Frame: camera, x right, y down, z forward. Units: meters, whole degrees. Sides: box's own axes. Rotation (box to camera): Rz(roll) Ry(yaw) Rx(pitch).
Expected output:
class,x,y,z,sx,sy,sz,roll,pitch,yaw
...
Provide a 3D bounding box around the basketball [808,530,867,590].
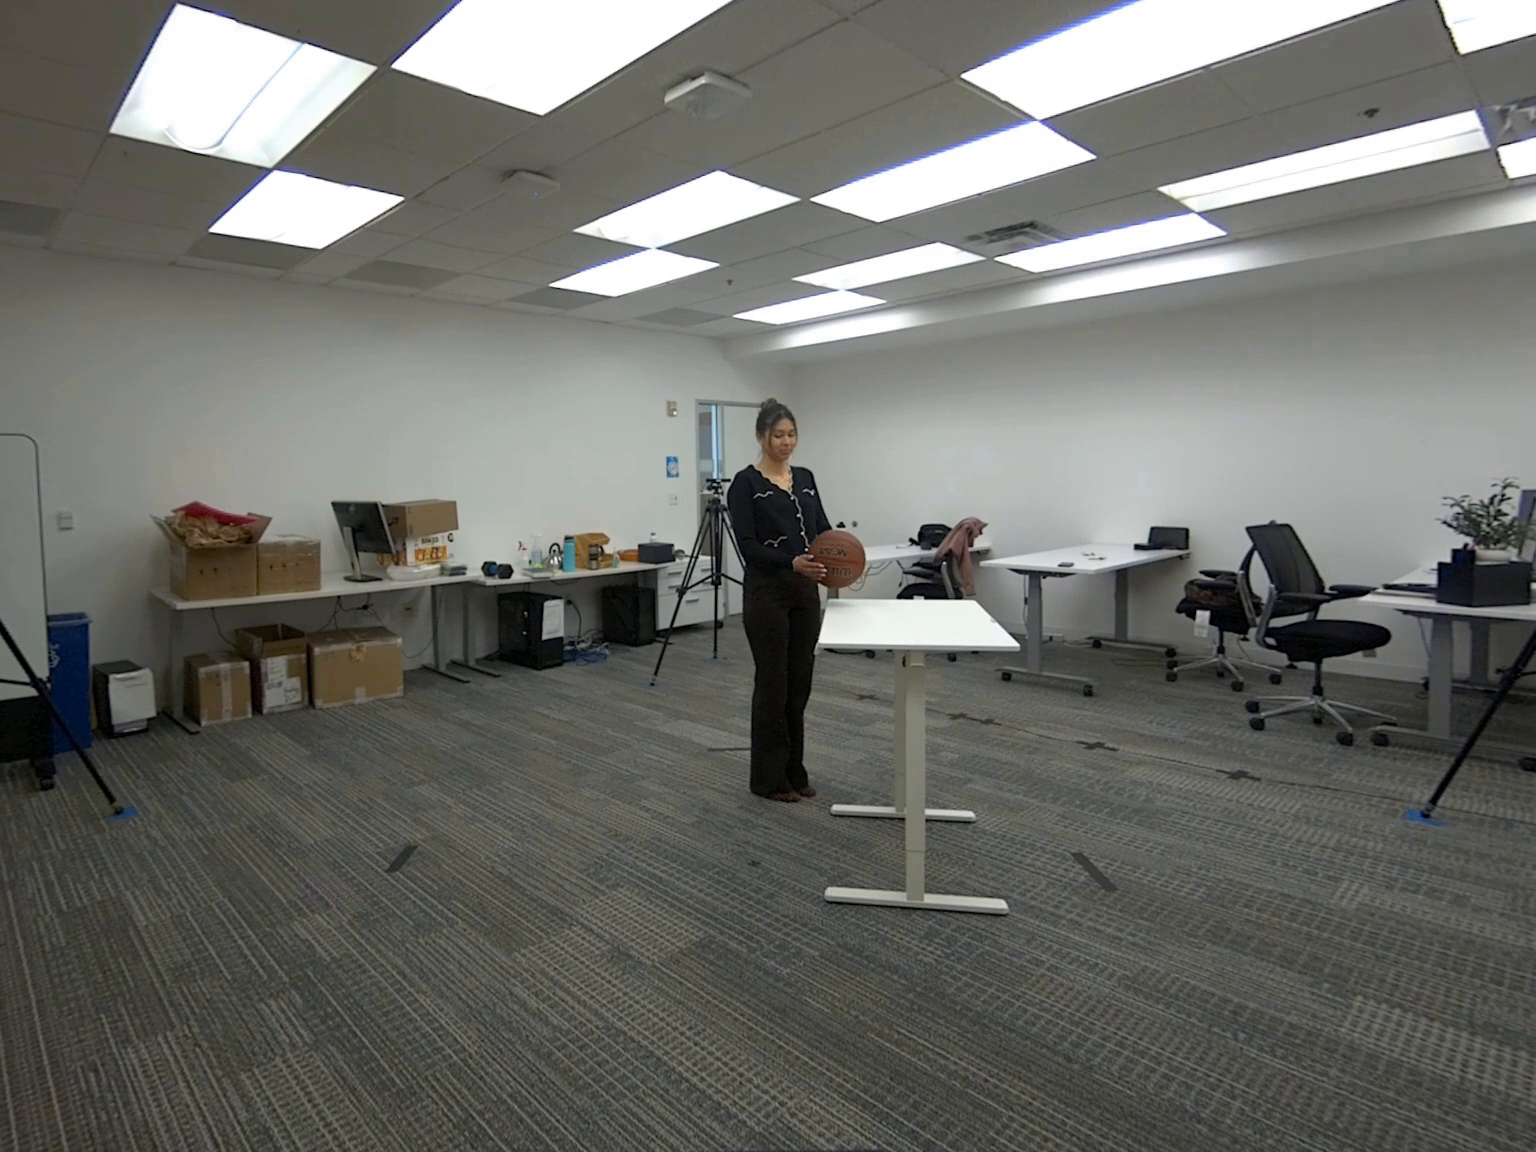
class,x,y,z,sx,sy,sz,roll,pitch,yaw
basketball,0.269,-0.063,3.433,0.236,0.235,0.237,-1,5,-2
